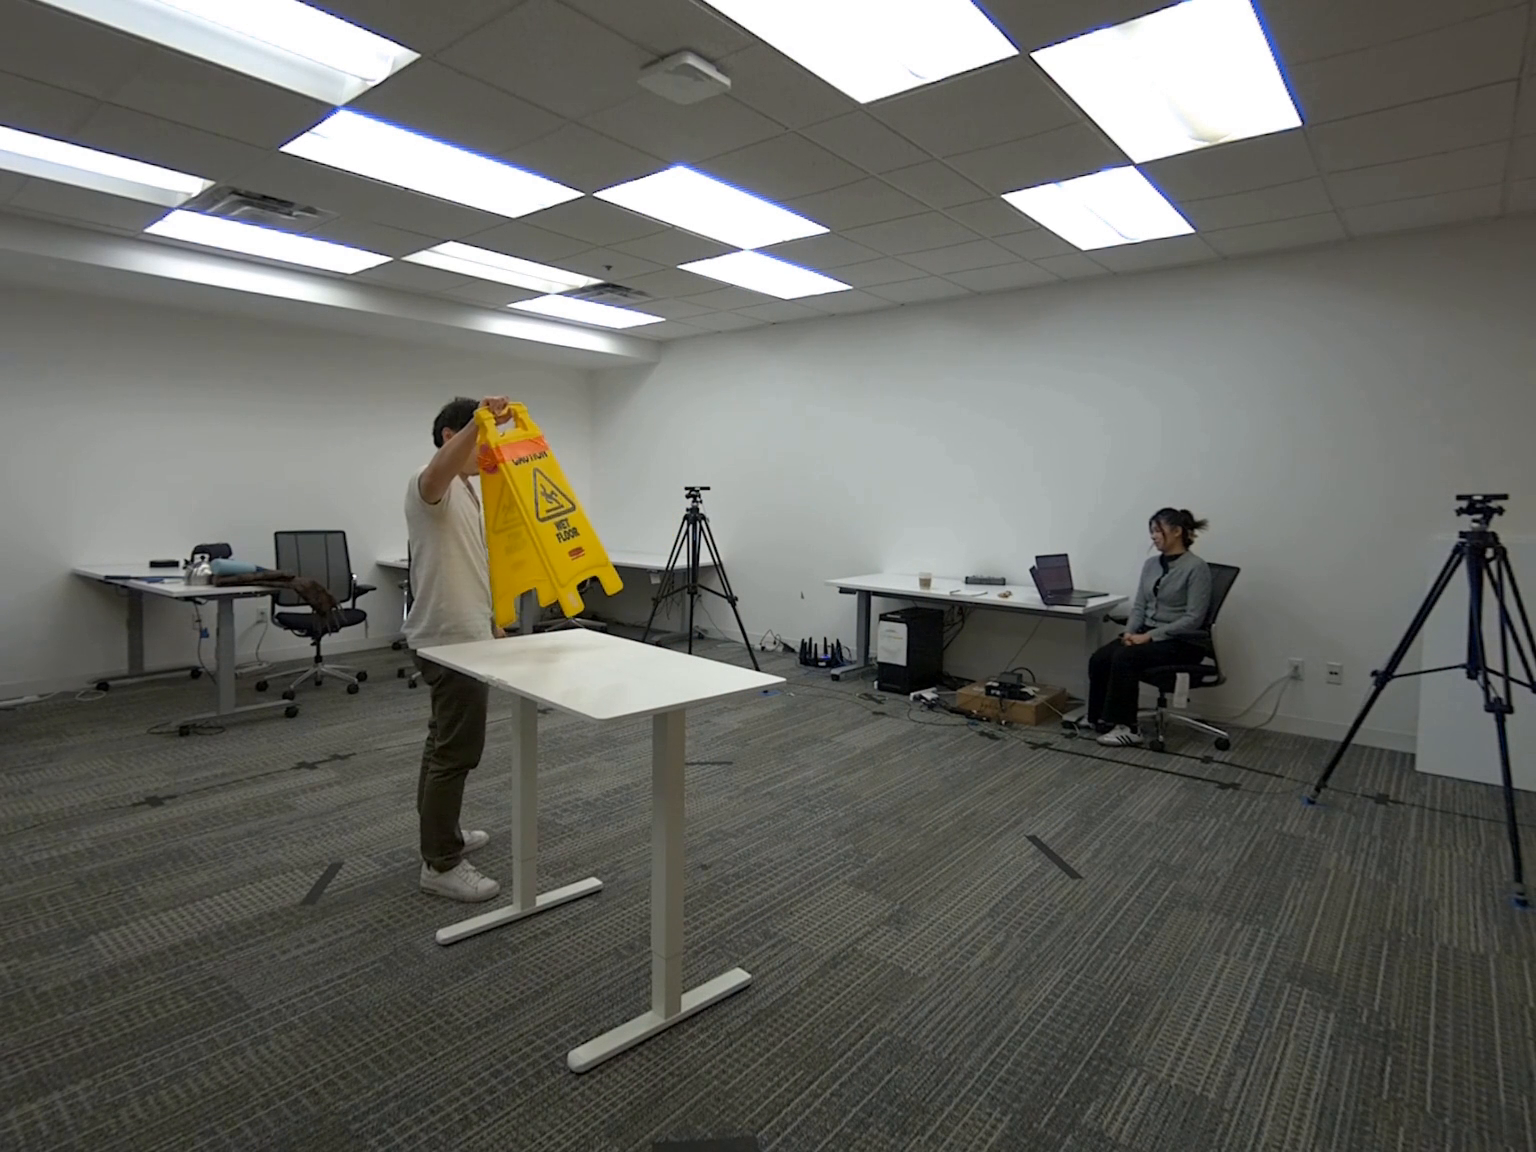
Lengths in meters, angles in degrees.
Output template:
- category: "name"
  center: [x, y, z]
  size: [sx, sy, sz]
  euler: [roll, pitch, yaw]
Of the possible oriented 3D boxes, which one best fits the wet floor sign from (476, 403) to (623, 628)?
- category: "wet floor sign"
  center: [-0.721, -0.212, 2.572]
  size: [0.296, 0.640, 0.279]
  euler: [-11, 9, 30]
